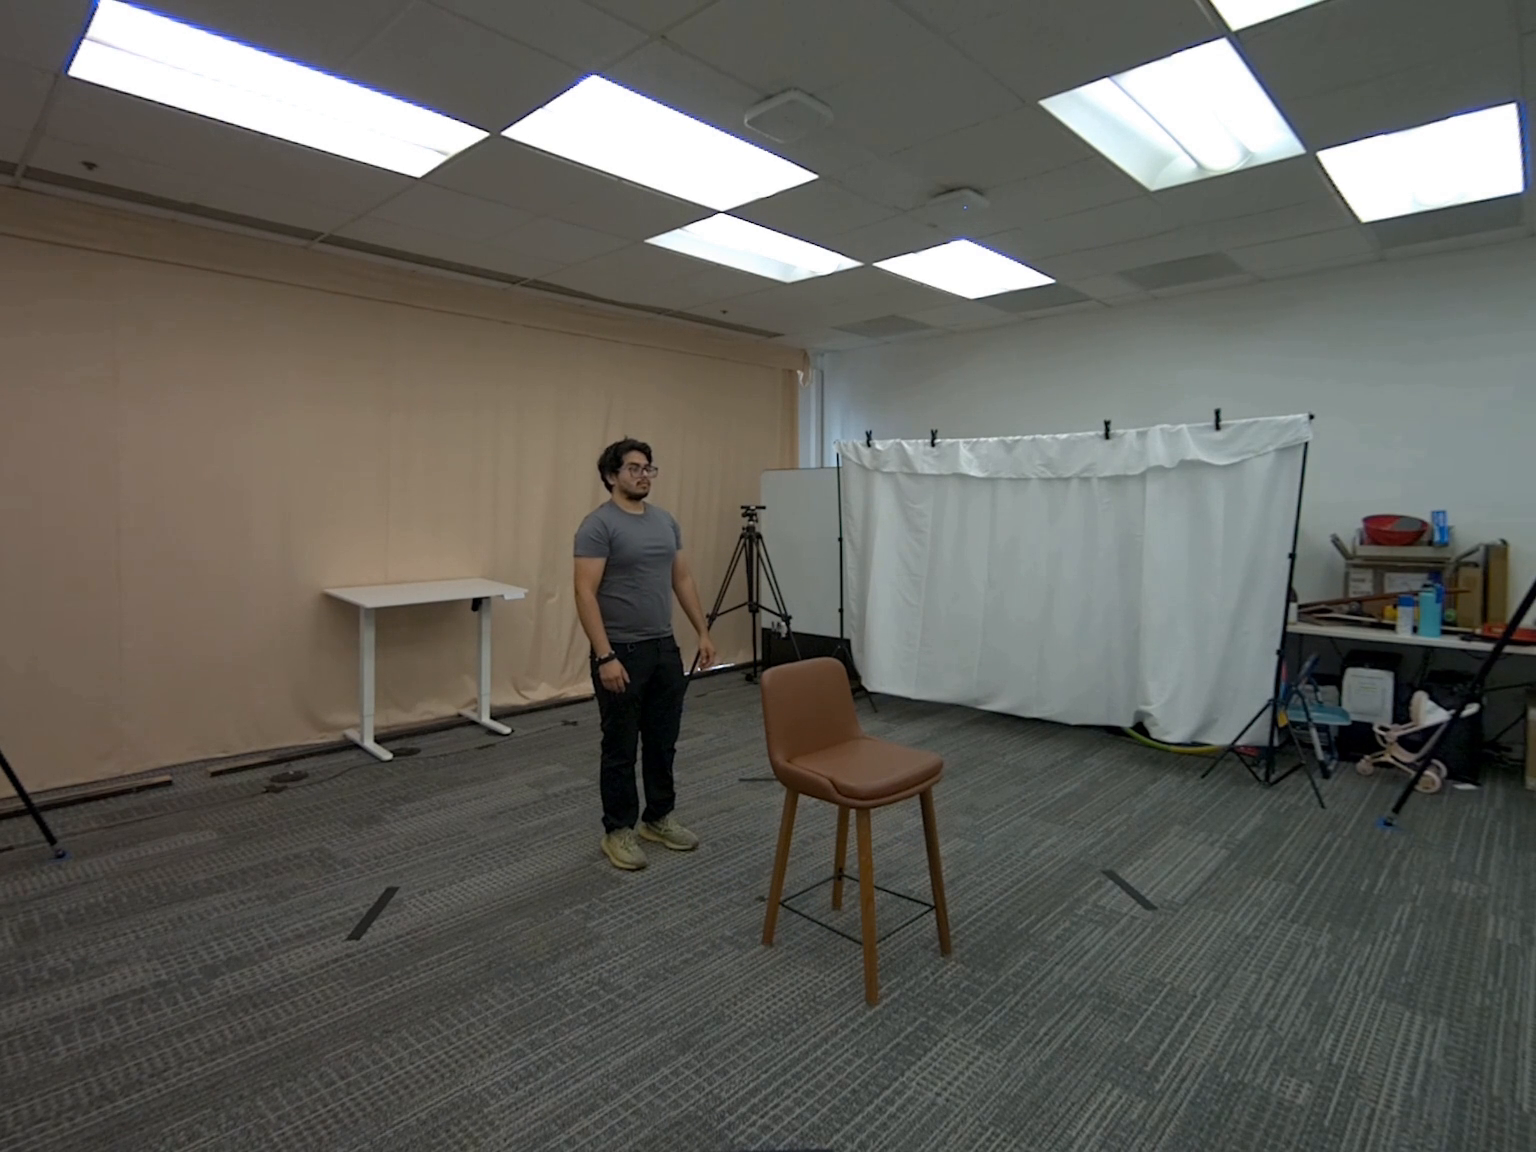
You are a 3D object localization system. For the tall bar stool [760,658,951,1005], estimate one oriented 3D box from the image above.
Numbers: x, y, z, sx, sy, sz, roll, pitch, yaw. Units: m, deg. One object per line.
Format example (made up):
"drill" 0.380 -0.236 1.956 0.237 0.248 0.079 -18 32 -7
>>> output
"tall bar stool" 0.269 0.740 2.620 0.442 0.888 0.483 -4 3 -44
